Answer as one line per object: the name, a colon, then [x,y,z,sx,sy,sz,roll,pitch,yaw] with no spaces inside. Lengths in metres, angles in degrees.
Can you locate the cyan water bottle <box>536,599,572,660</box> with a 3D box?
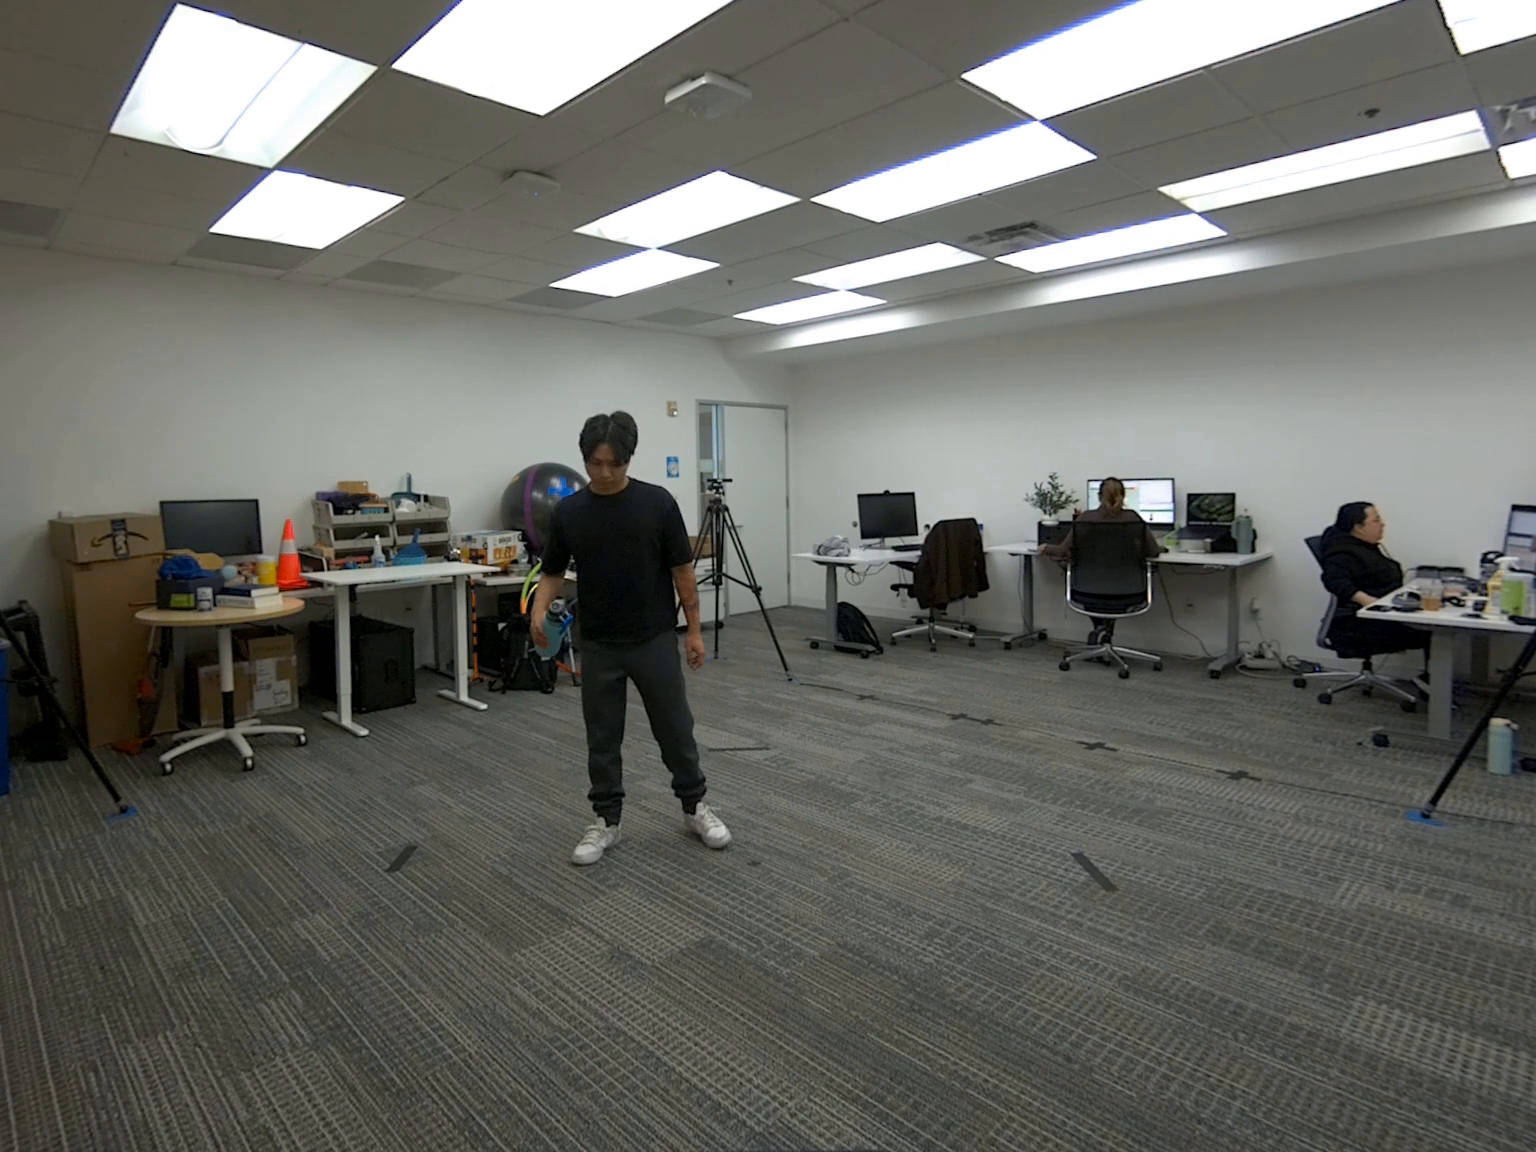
cyan water bottle: [-0.745,0.197,3.027,0.090,0.095,0.280,-2,-32,-24]
